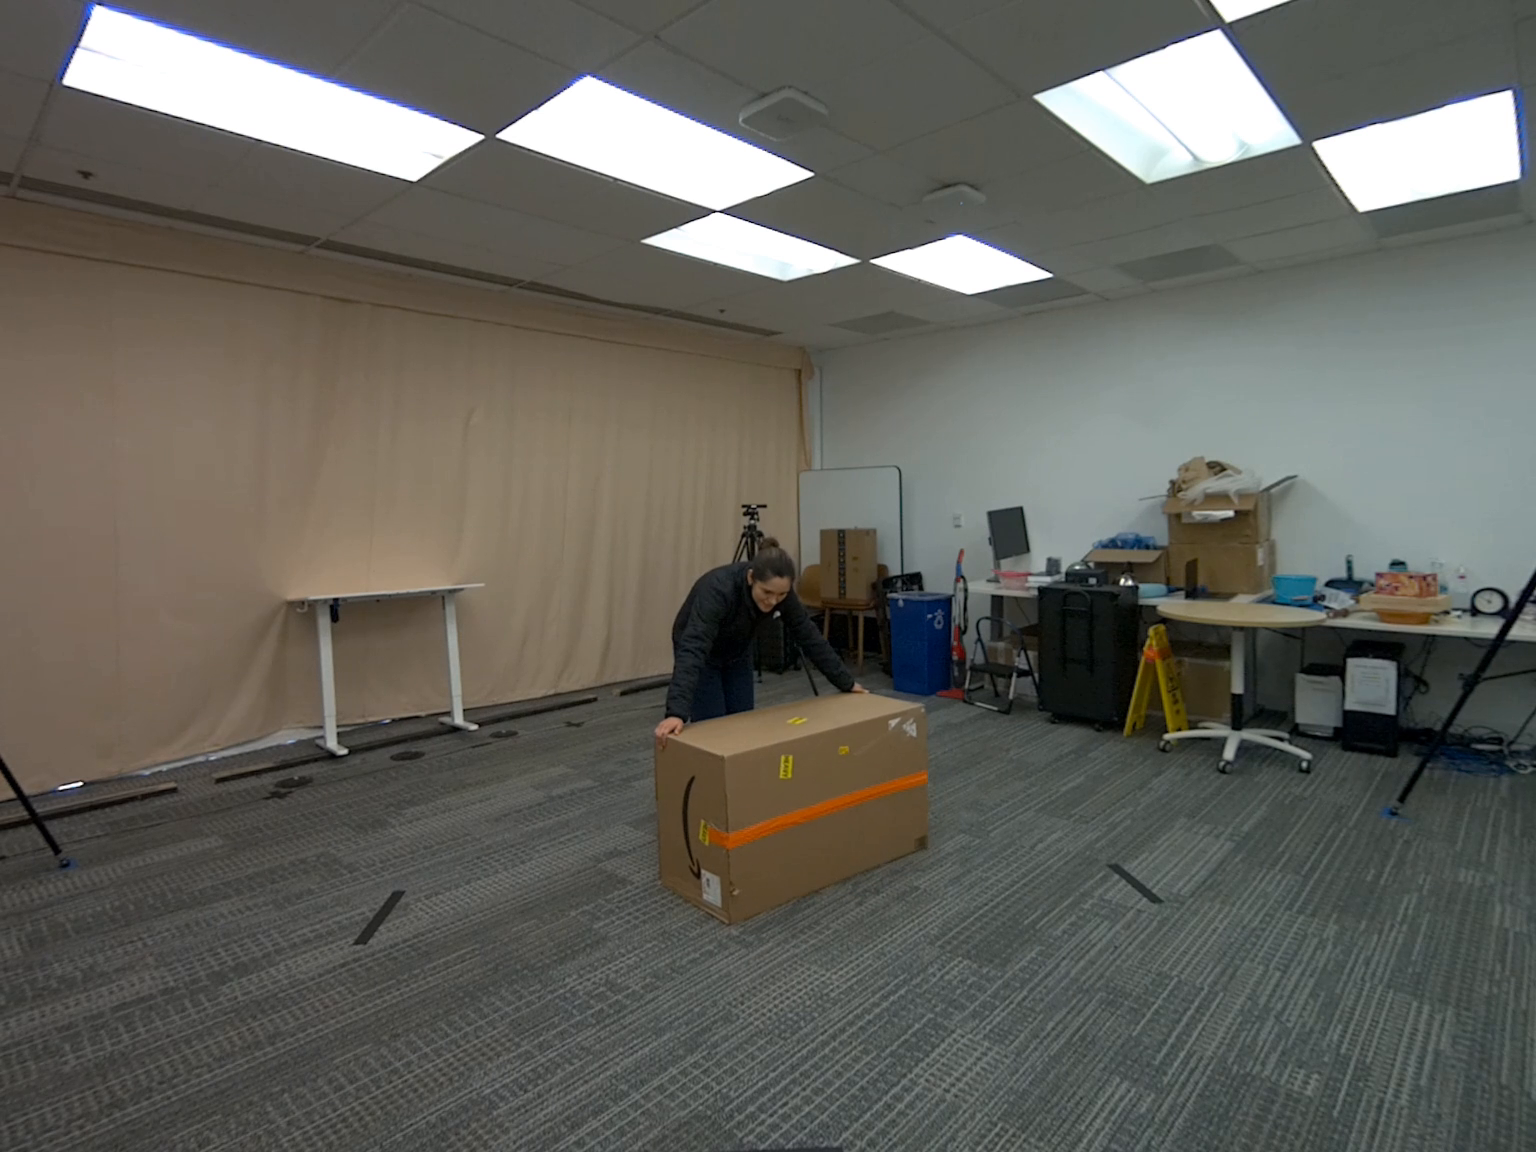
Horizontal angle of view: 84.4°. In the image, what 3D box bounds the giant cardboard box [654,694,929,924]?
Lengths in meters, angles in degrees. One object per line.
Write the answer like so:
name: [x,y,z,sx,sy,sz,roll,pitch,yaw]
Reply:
giant cardboard box: [0.130,0.830,3.239,0.997,0.582,0.461,-5,6,-39]
